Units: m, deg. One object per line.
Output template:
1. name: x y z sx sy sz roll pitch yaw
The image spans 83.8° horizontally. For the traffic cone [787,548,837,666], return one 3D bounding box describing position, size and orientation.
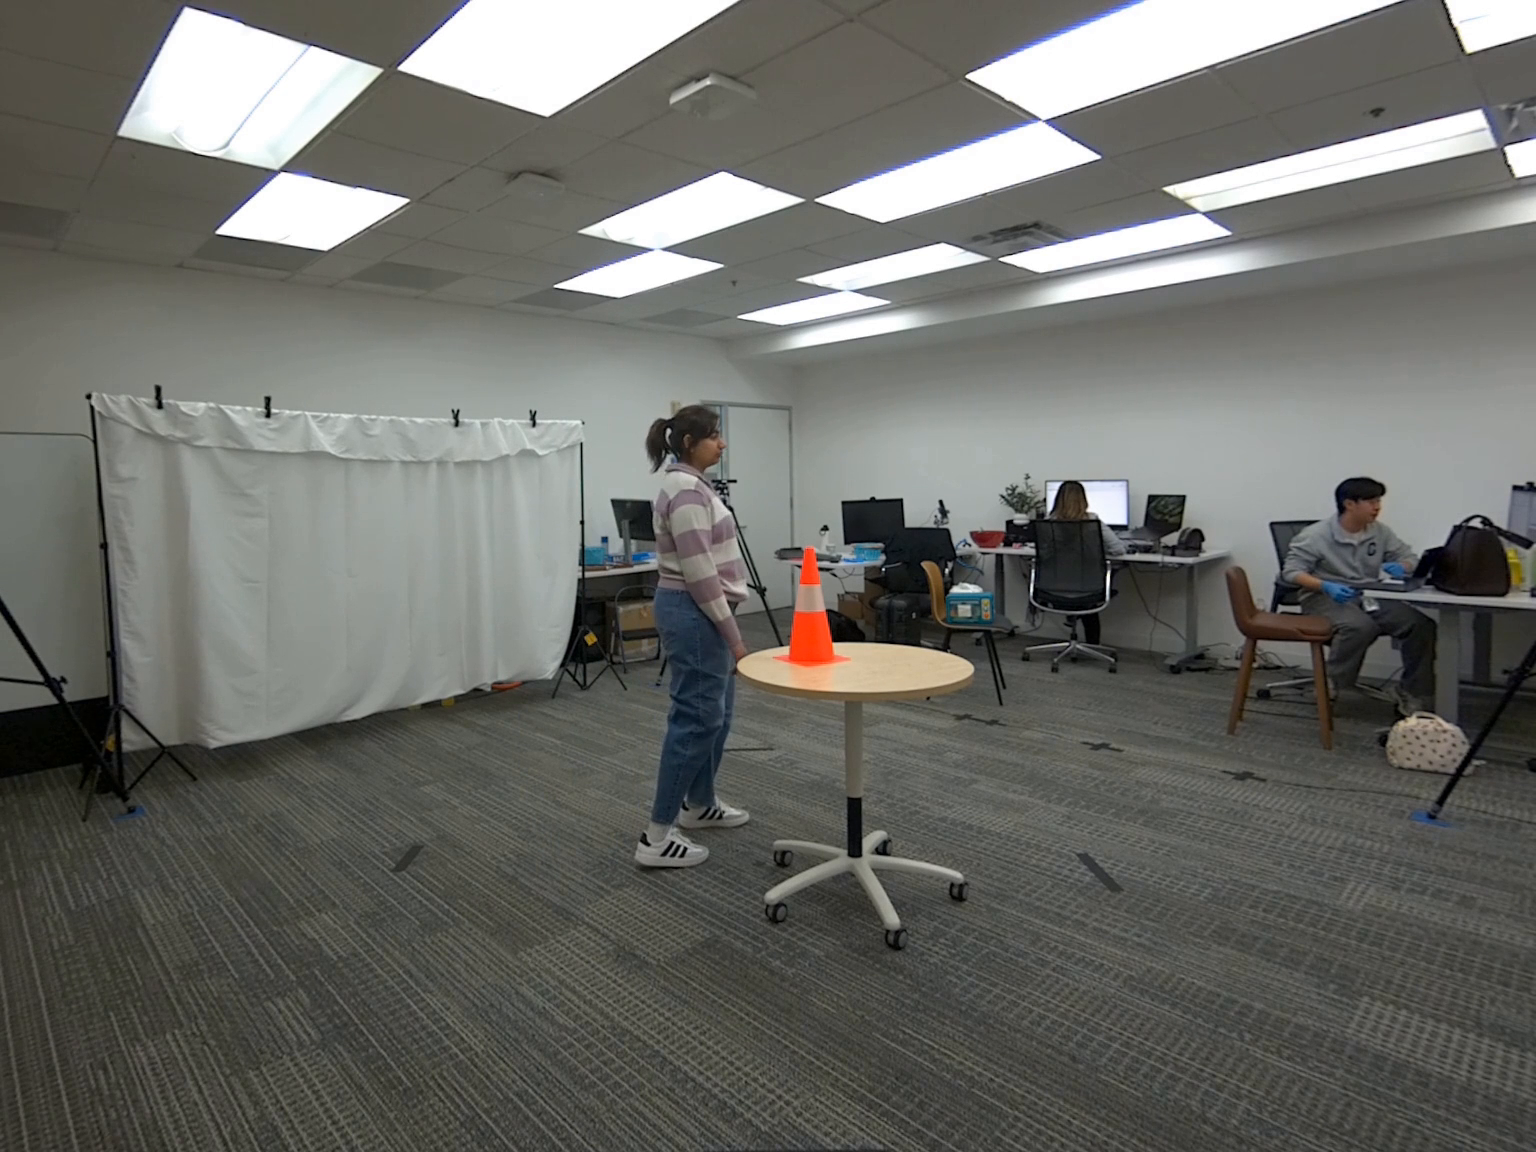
1. traffic cone: 0.151 0.098 2.897 0.211 0.382 0.198 2 6 33
